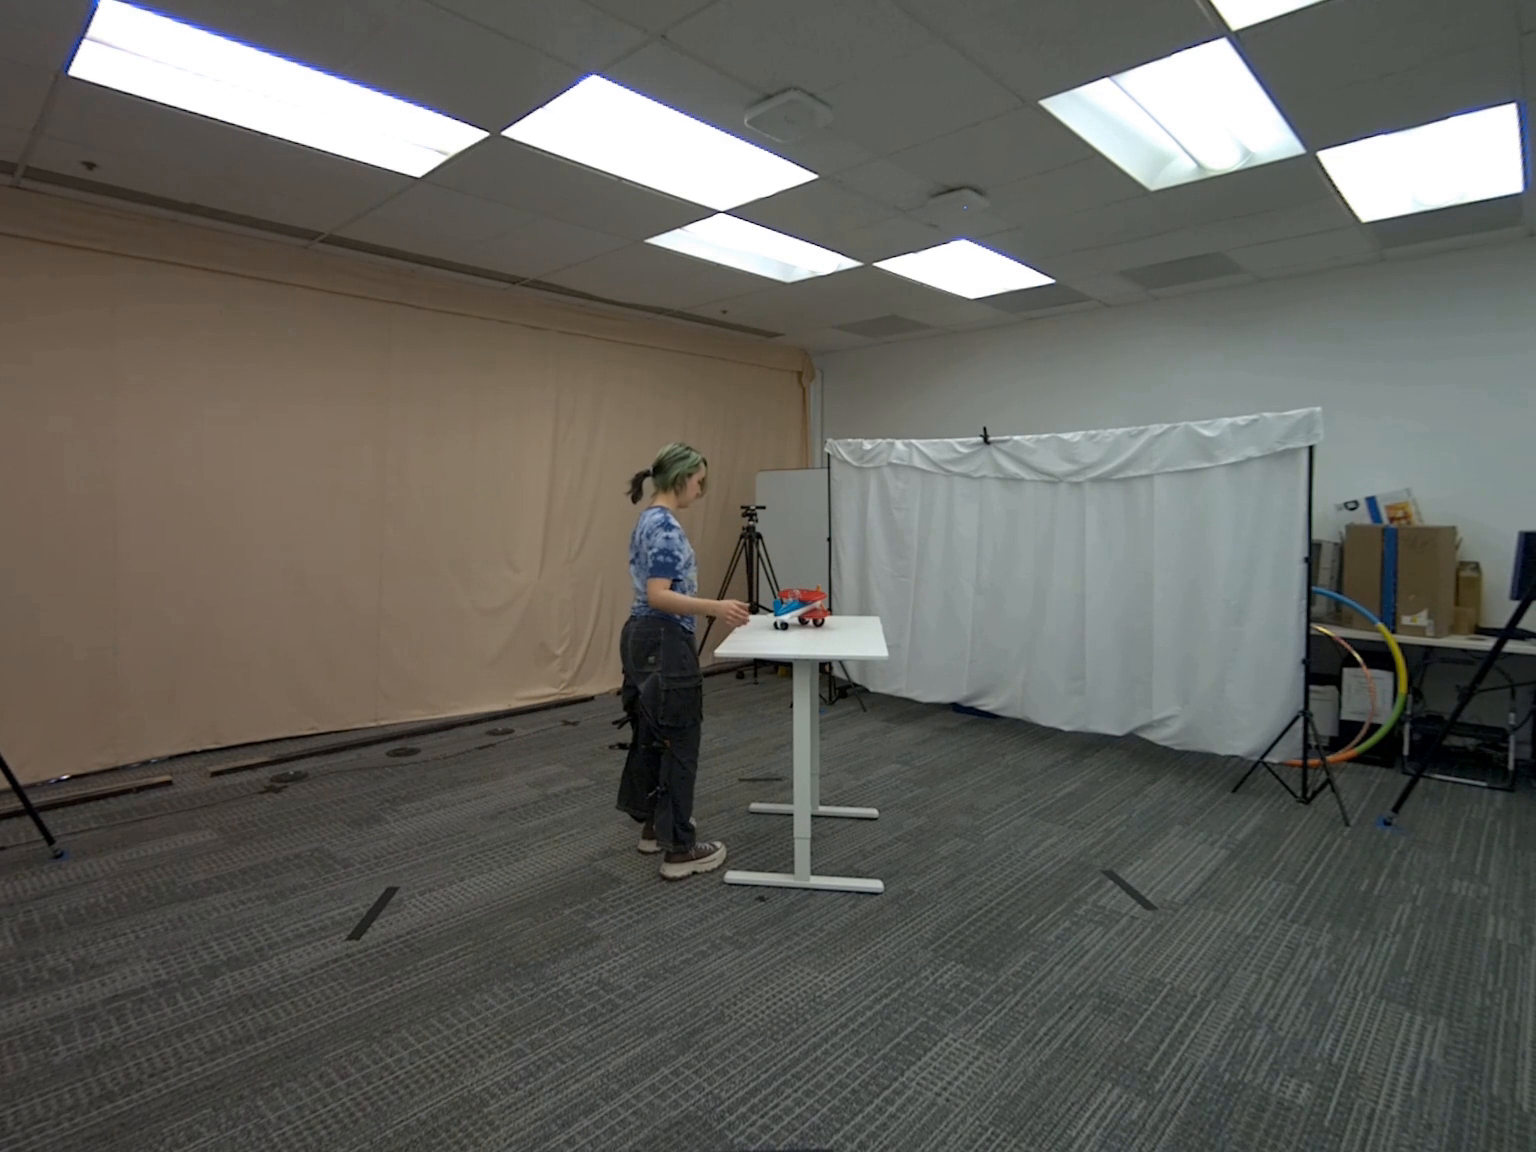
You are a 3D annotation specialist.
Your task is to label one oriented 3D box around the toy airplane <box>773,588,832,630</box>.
[{"bbox_3d":[0.140,0.141,3.511,0.257,0.156,0.254,0,3,20],"label":"toy airplane"}]
